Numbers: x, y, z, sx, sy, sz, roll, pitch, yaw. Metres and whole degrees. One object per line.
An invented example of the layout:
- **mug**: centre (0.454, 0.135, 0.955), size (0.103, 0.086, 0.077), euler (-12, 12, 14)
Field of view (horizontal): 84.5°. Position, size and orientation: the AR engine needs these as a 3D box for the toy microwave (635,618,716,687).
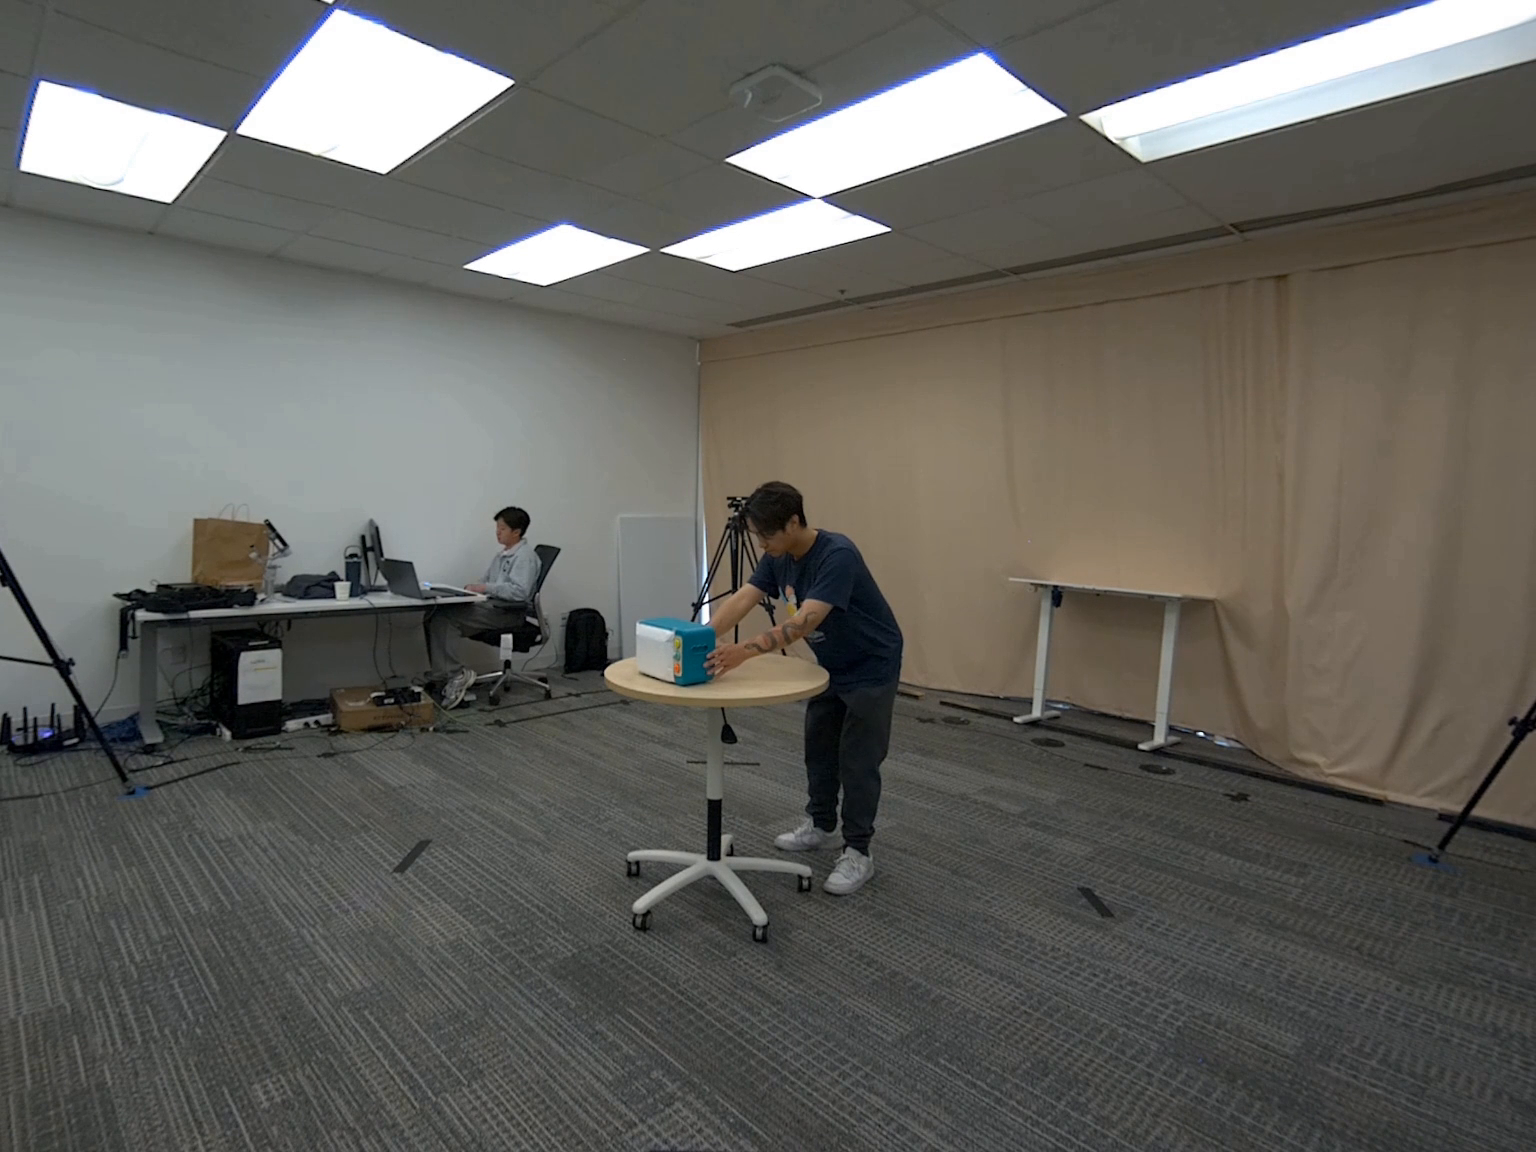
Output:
- **toy microwave**: centre (-0.317, 0.245, 2.757), size (0.149, 0.183, 0.293), euler (-3, 6, -41)
